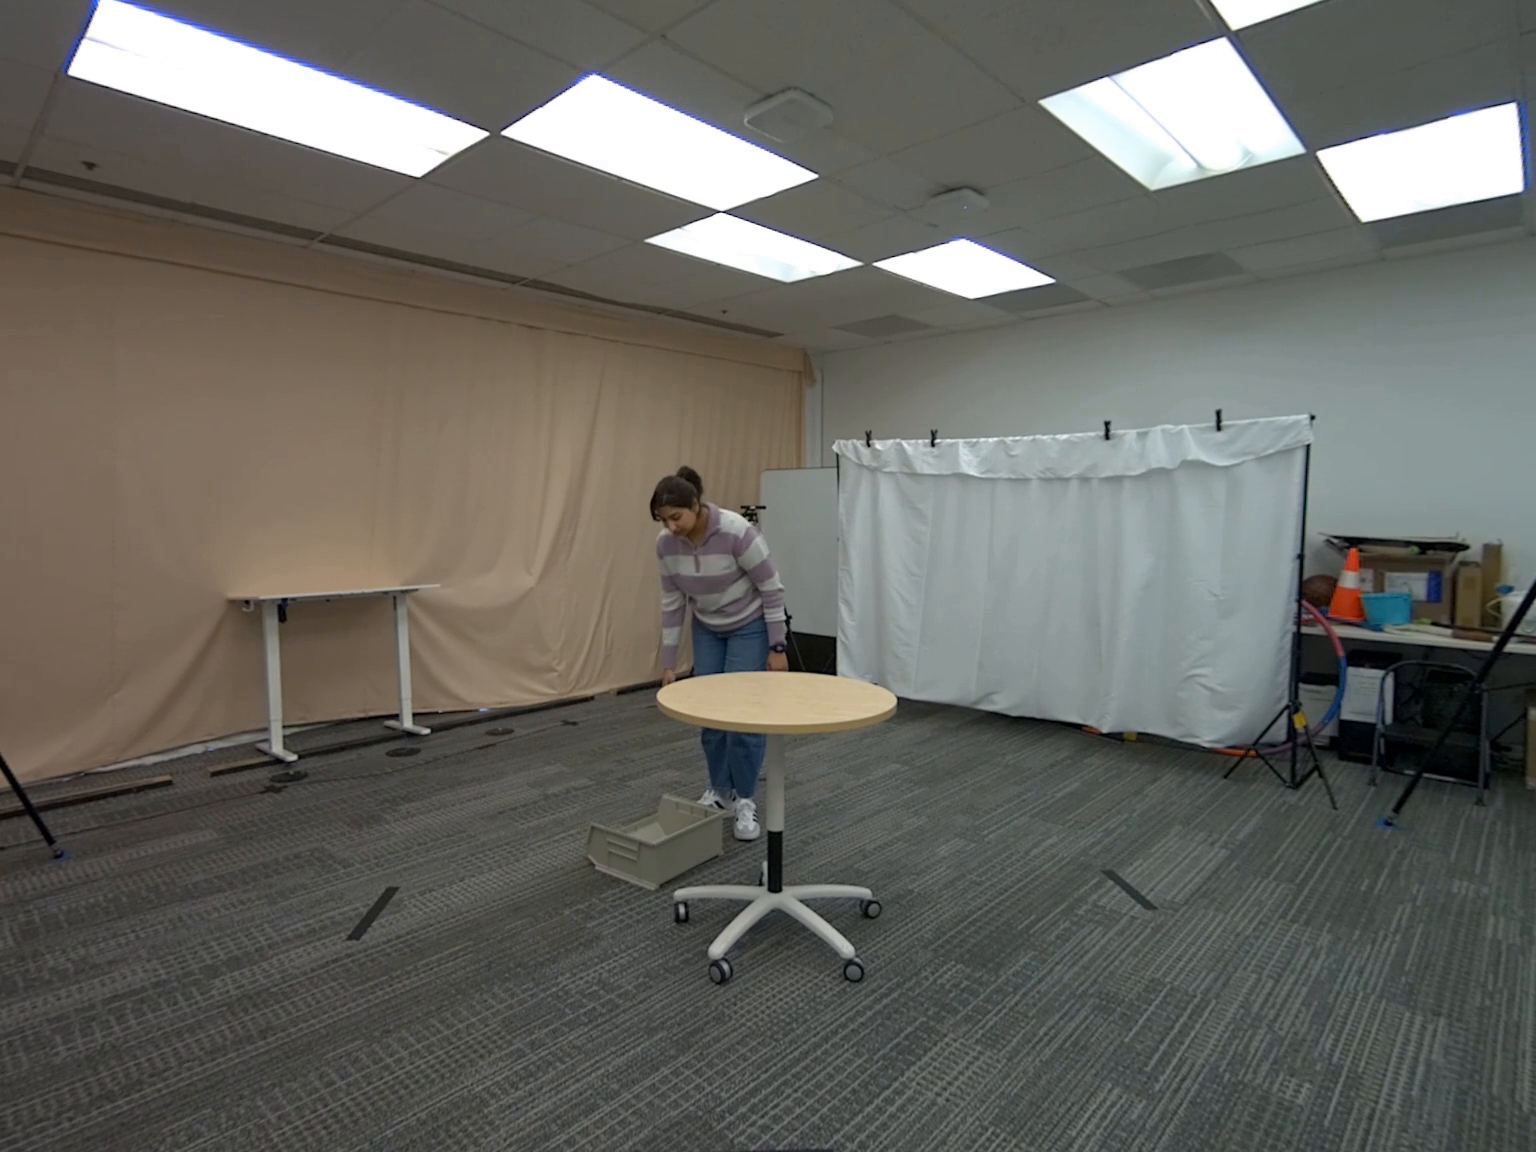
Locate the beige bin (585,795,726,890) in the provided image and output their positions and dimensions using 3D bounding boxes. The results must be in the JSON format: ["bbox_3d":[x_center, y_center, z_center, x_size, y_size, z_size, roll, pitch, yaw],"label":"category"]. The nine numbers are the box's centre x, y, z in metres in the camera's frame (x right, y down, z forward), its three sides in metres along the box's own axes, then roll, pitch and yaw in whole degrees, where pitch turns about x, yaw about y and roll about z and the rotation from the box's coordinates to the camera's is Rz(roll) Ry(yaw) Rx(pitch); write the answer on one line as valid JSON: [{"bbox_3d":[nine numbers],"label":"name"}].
[{"bbox_3d":[-0.438,1.030,3.313,0.390,0.188,0.410,4,6,37],"label":"beige bin"}]
